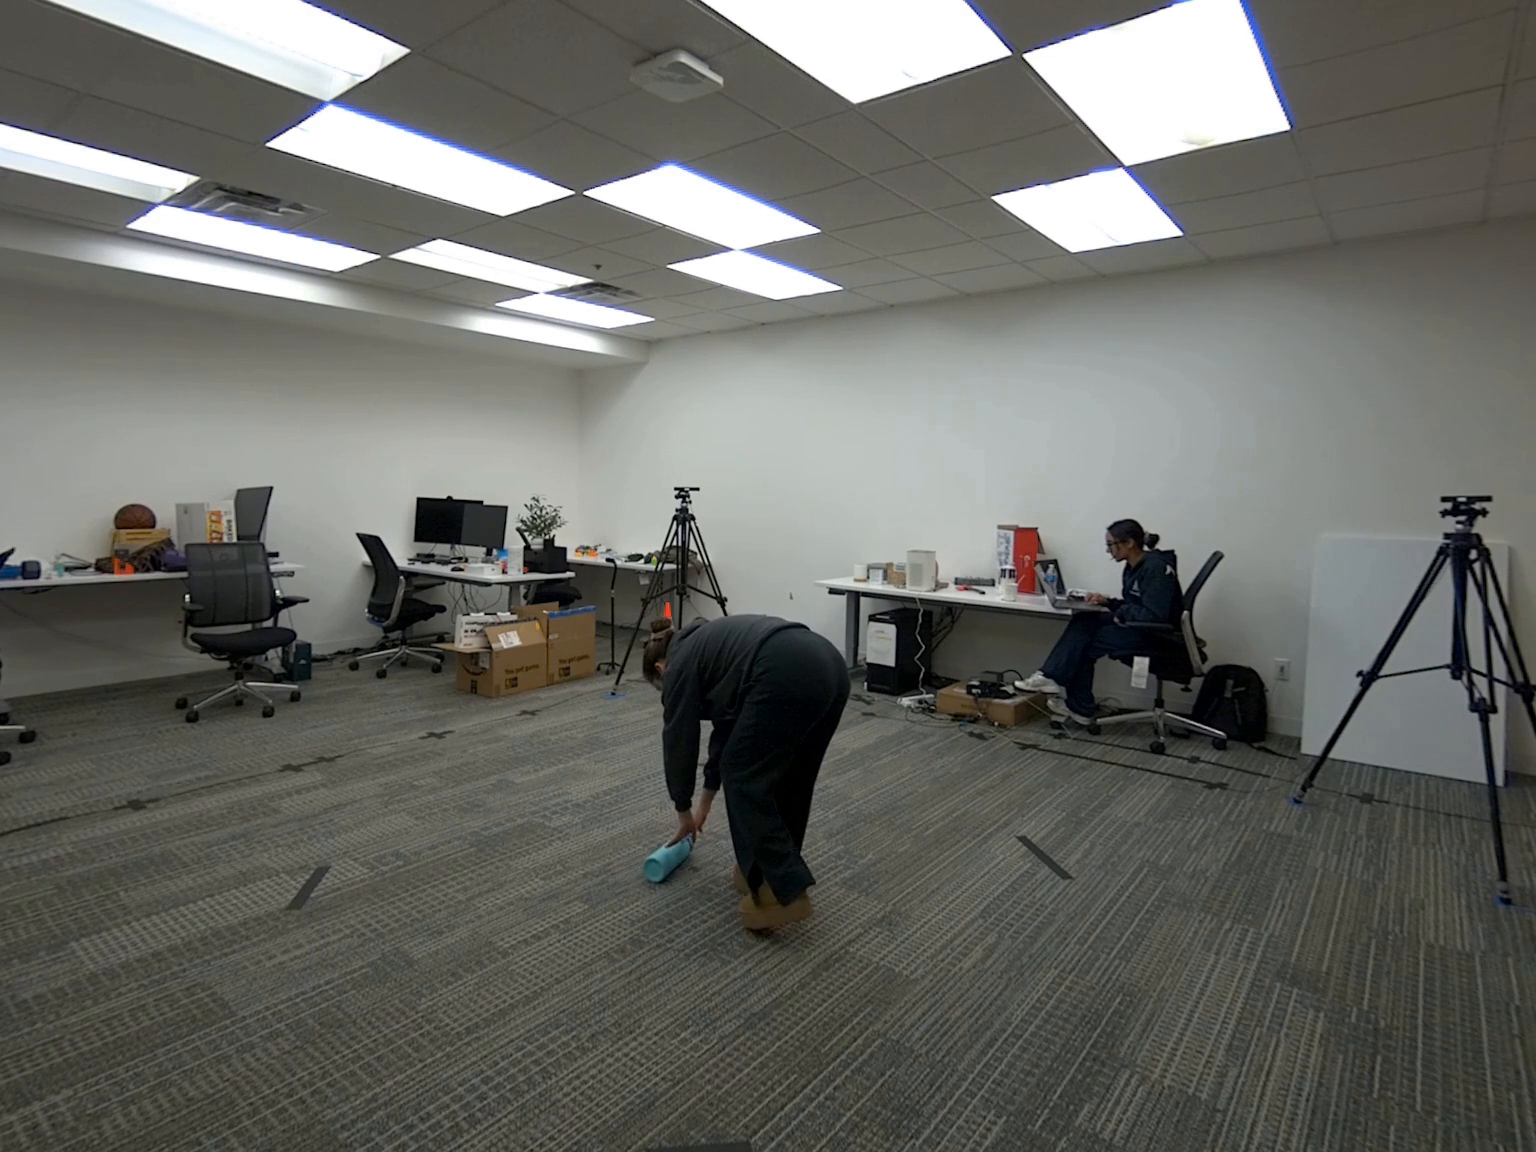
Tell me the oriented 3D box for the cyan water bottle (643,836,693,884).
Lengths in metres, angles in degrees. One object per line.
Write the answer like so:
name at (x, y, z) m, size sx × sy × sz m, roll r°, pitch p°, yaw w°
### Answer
cyan water bottle at (-0.355, 1.018, 3.111) m, size 0.094 × 0.092 × 0.278 m, roll 2°, pitch 3°, yaw 19°
